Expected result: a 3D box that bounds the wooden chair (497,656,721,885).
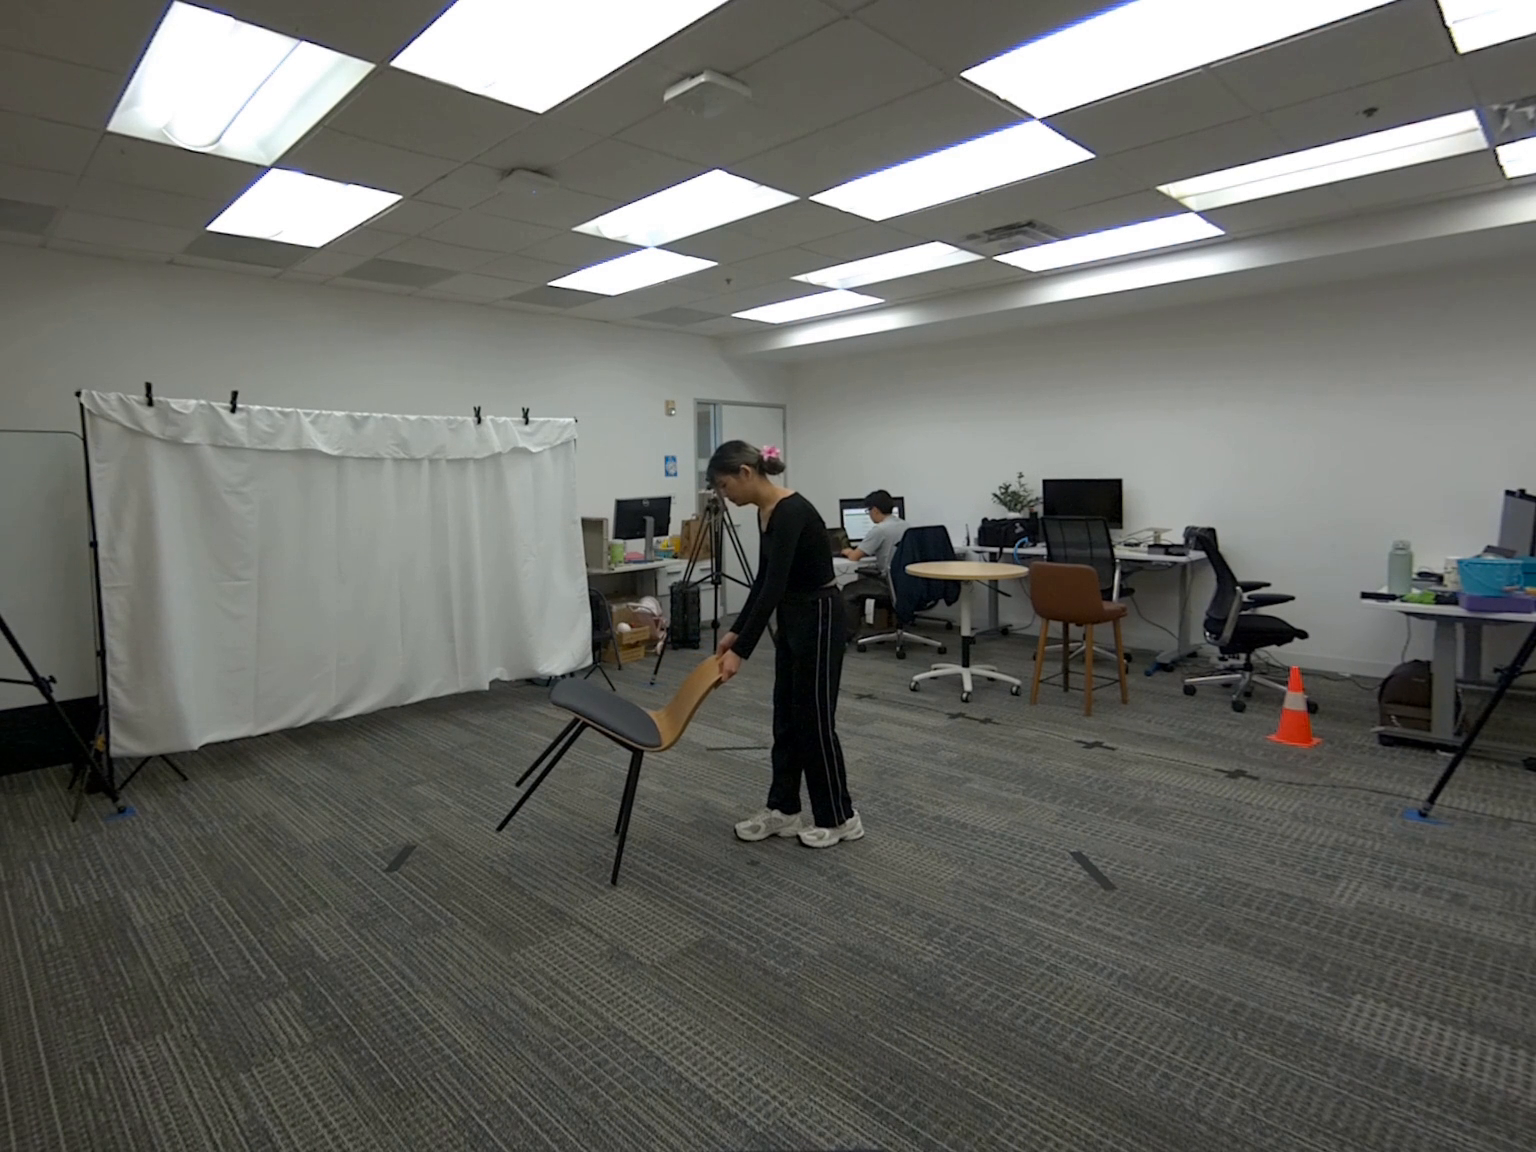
[{"bbox_3d":[-0.559,0.560,3.130,0.518,0.877,0.483,32,0,-9],"label":"wooden chair"}]
